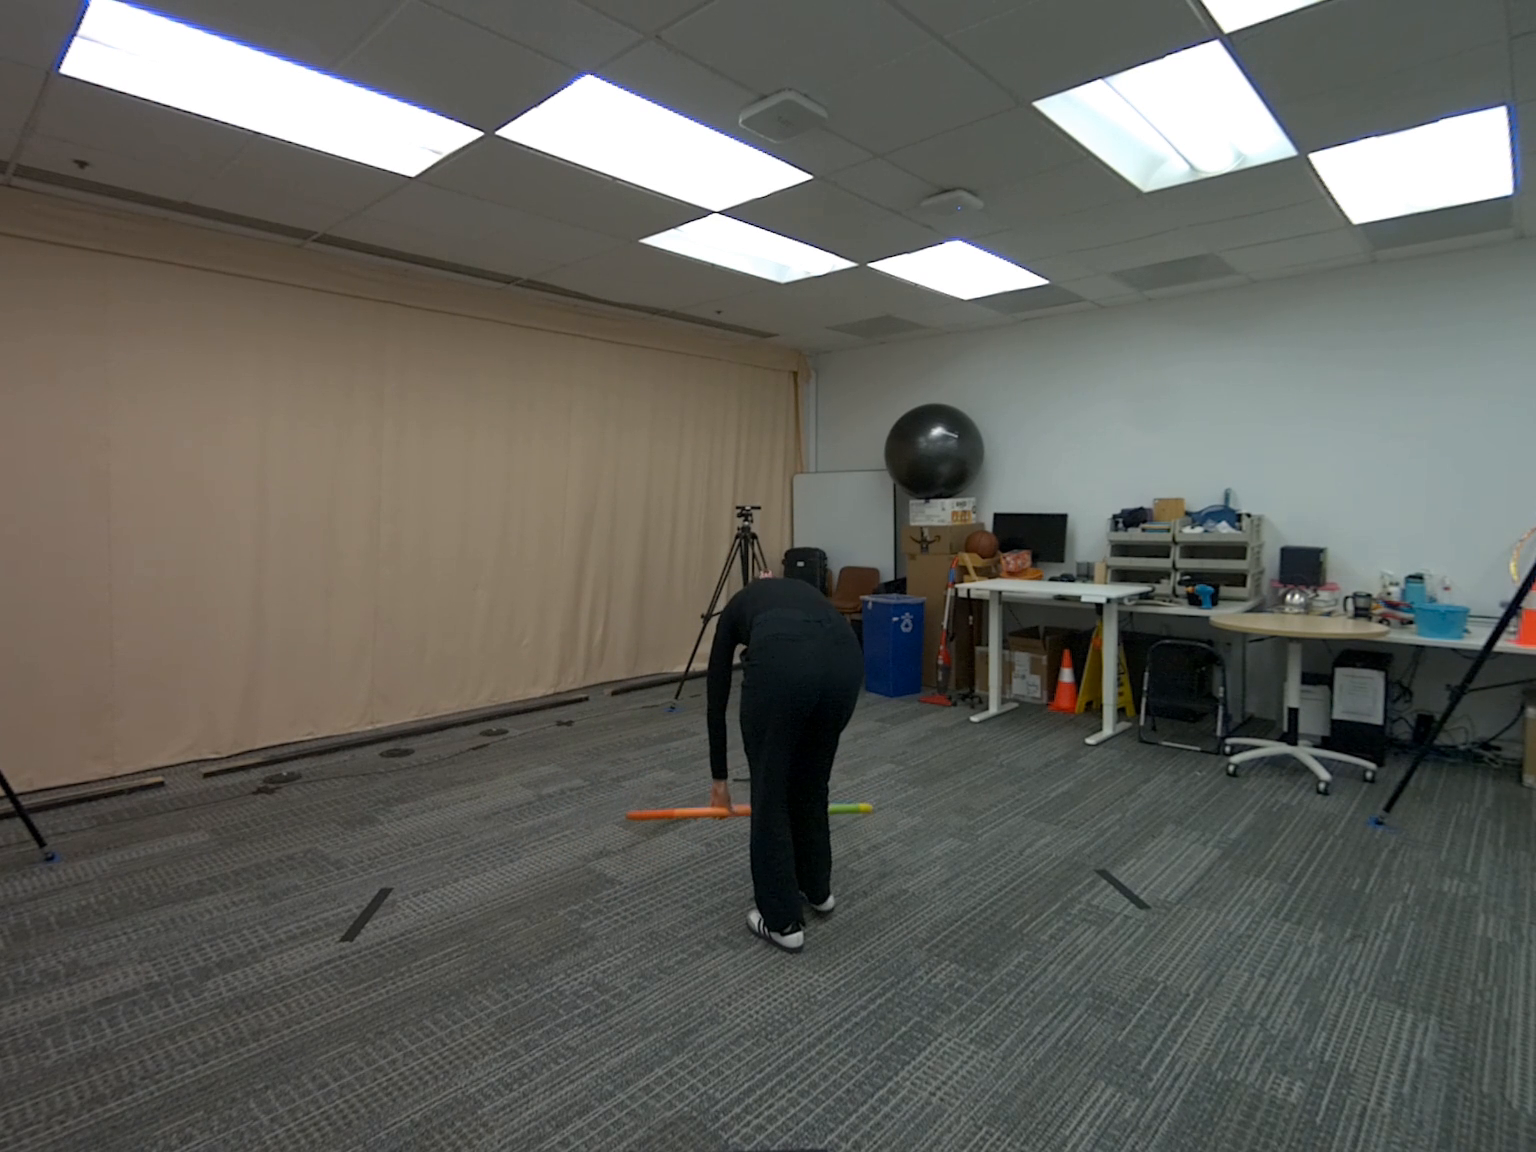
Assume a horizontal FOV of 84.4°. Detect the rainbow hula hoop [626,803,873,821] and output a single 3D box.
[{"bbox_3d":[-0.070,0.937,3.397,0.977,0.036,0.970,-1,-15,-2],"label":"rainbow hula hoop"}]
